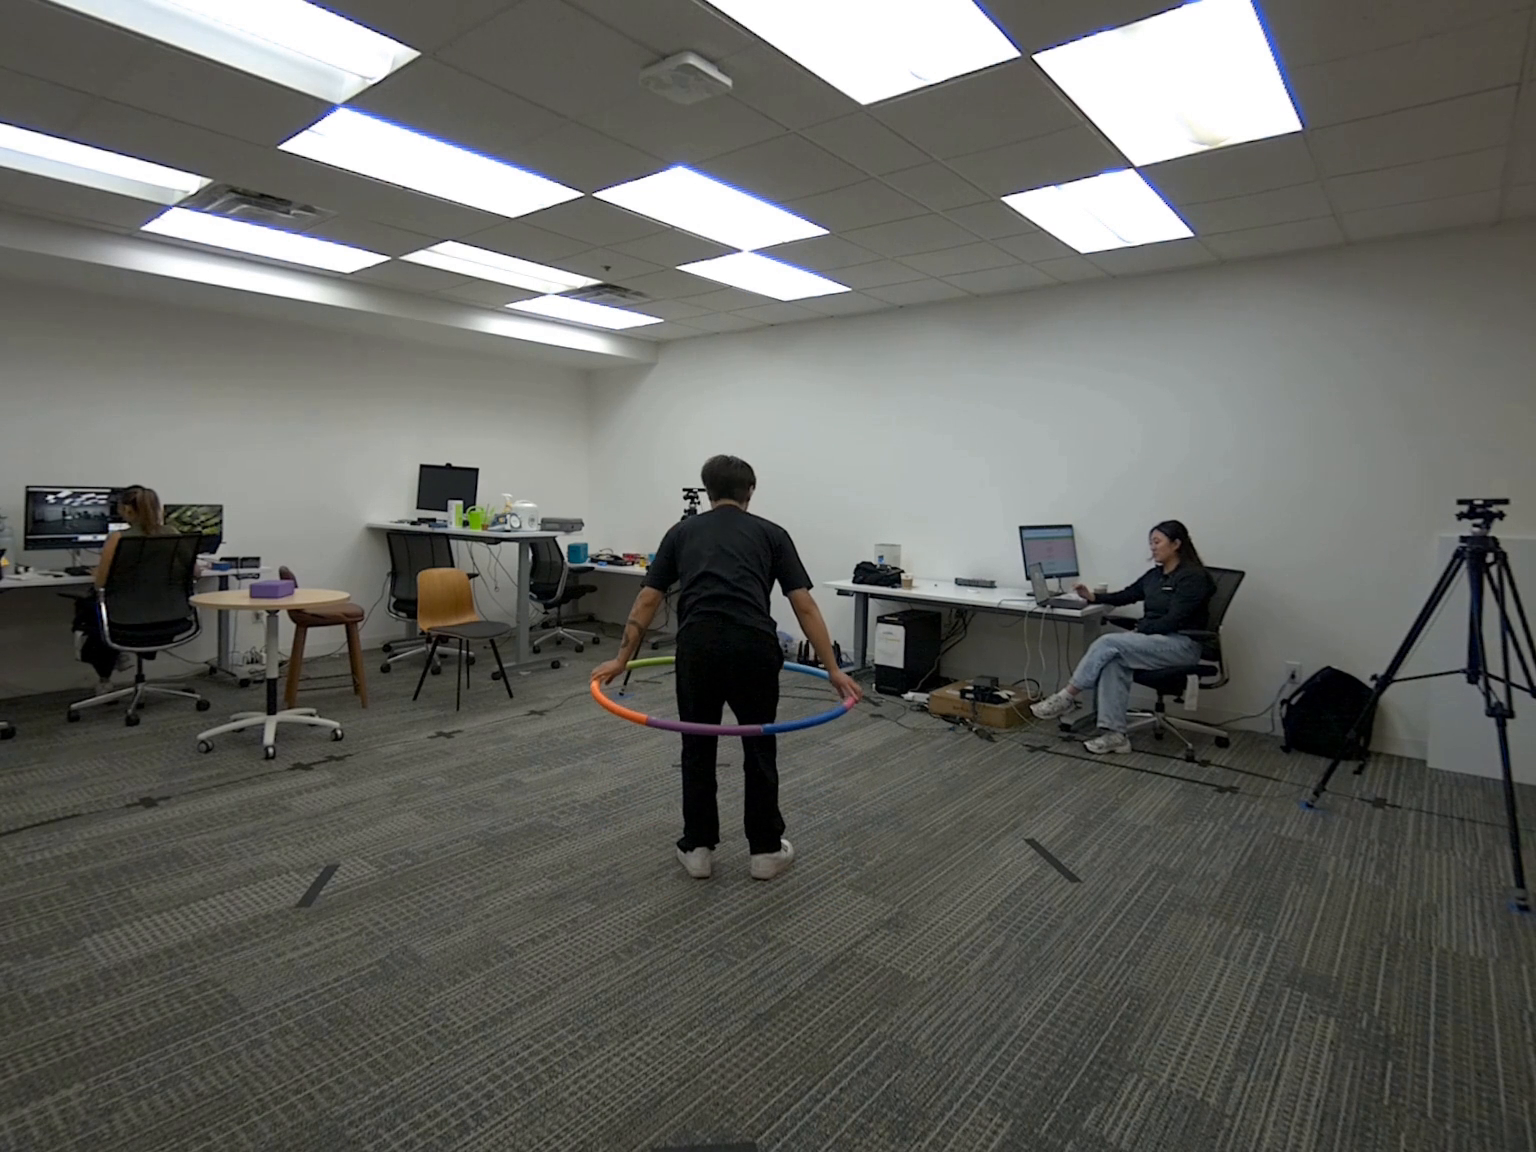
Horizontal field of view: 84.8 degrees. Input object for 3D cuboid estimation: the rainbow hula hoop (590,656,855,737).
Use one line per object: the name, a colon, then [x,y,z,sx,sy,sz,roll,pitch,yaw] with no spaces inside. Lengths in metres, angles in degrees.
rainbow hula hoop: [-0.176,0.401,3.149,0.978,0.035,0.985,2,7,-2]
